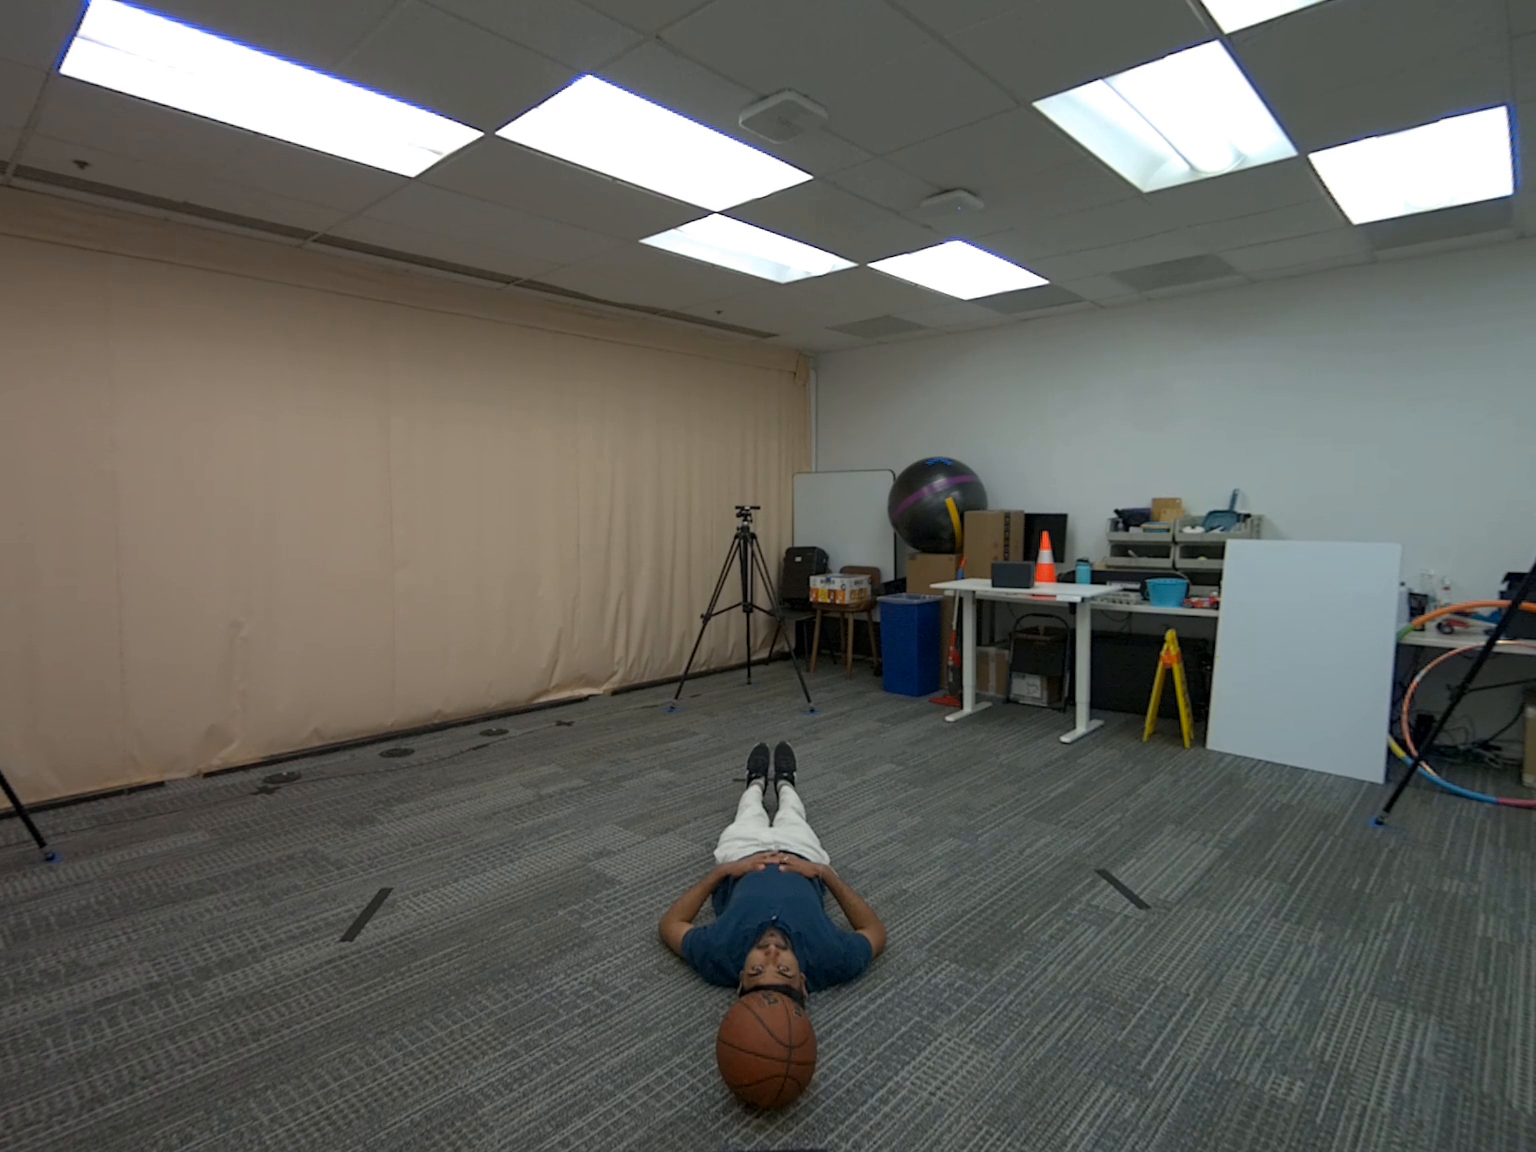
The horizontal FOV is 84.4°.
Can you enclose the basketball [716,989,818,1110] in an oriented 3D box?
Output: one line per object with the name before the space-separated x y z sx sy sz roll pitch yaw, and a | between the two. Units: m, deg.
basketball | 0.000 1.109 1.972 0.236 0.235 0.237 0 4 -2
